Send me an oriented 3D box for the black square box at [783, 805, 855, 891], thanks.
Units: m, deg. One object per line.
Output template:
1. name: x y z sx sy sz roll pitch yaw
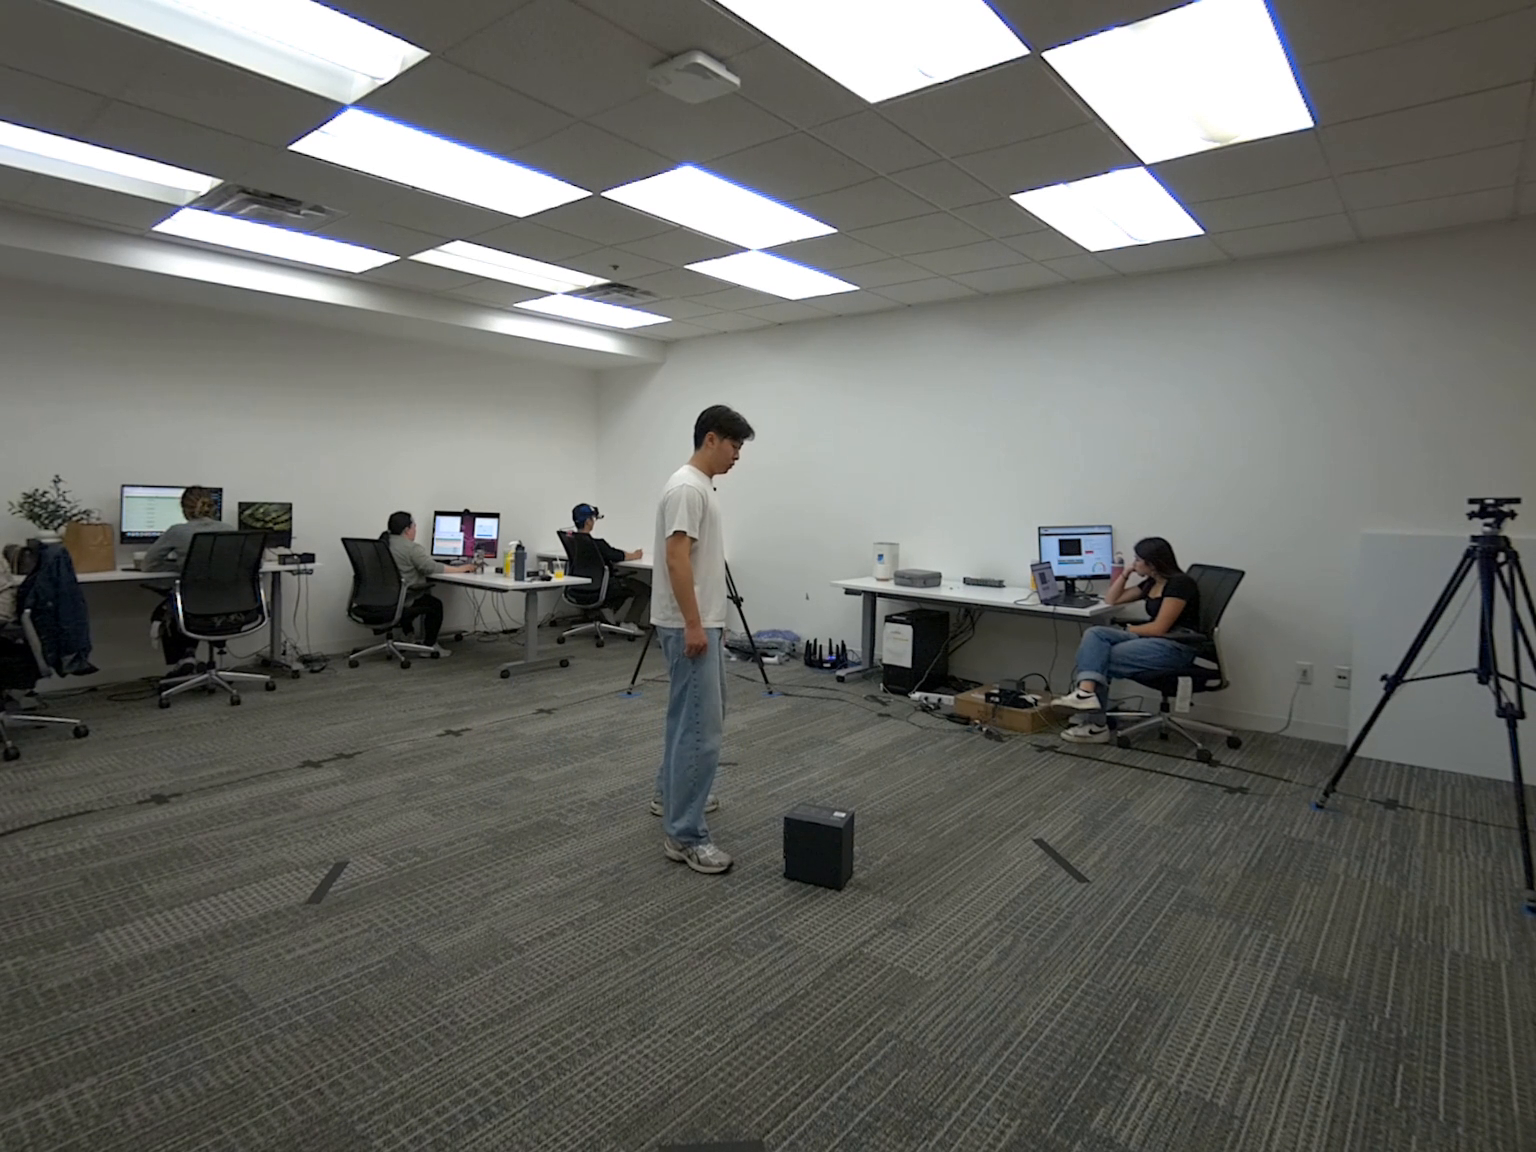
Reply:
1. black square box: 0.177 0.958 3.056 0.222 0.227 0.153 3 4 23
